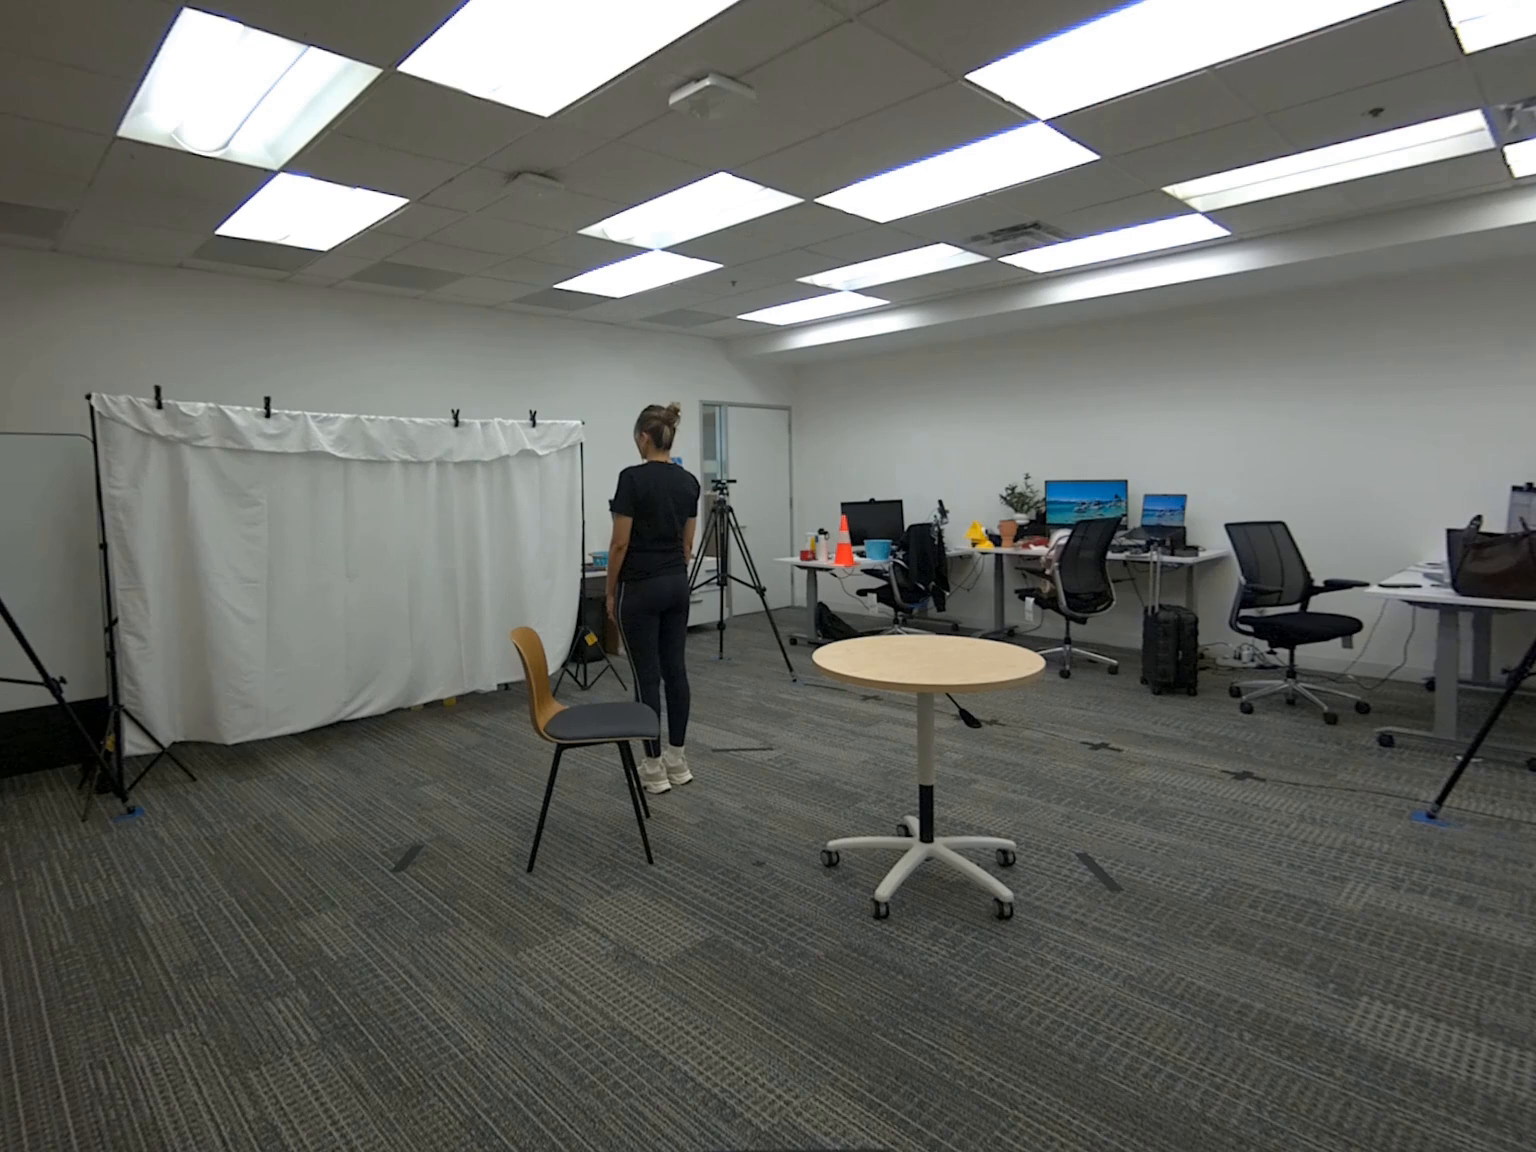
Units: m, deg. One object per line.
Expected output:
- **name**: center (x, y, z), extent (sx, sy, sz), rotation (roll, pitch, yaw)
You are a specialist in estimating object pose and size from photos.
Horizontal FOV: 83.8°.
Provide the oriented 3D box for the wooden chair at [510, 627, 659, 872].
- **wooden chair**: center (-0.682, 0.616, 3.283), extent (0.520, 0.874, 0.483), rotation (-5, 4, -7)
